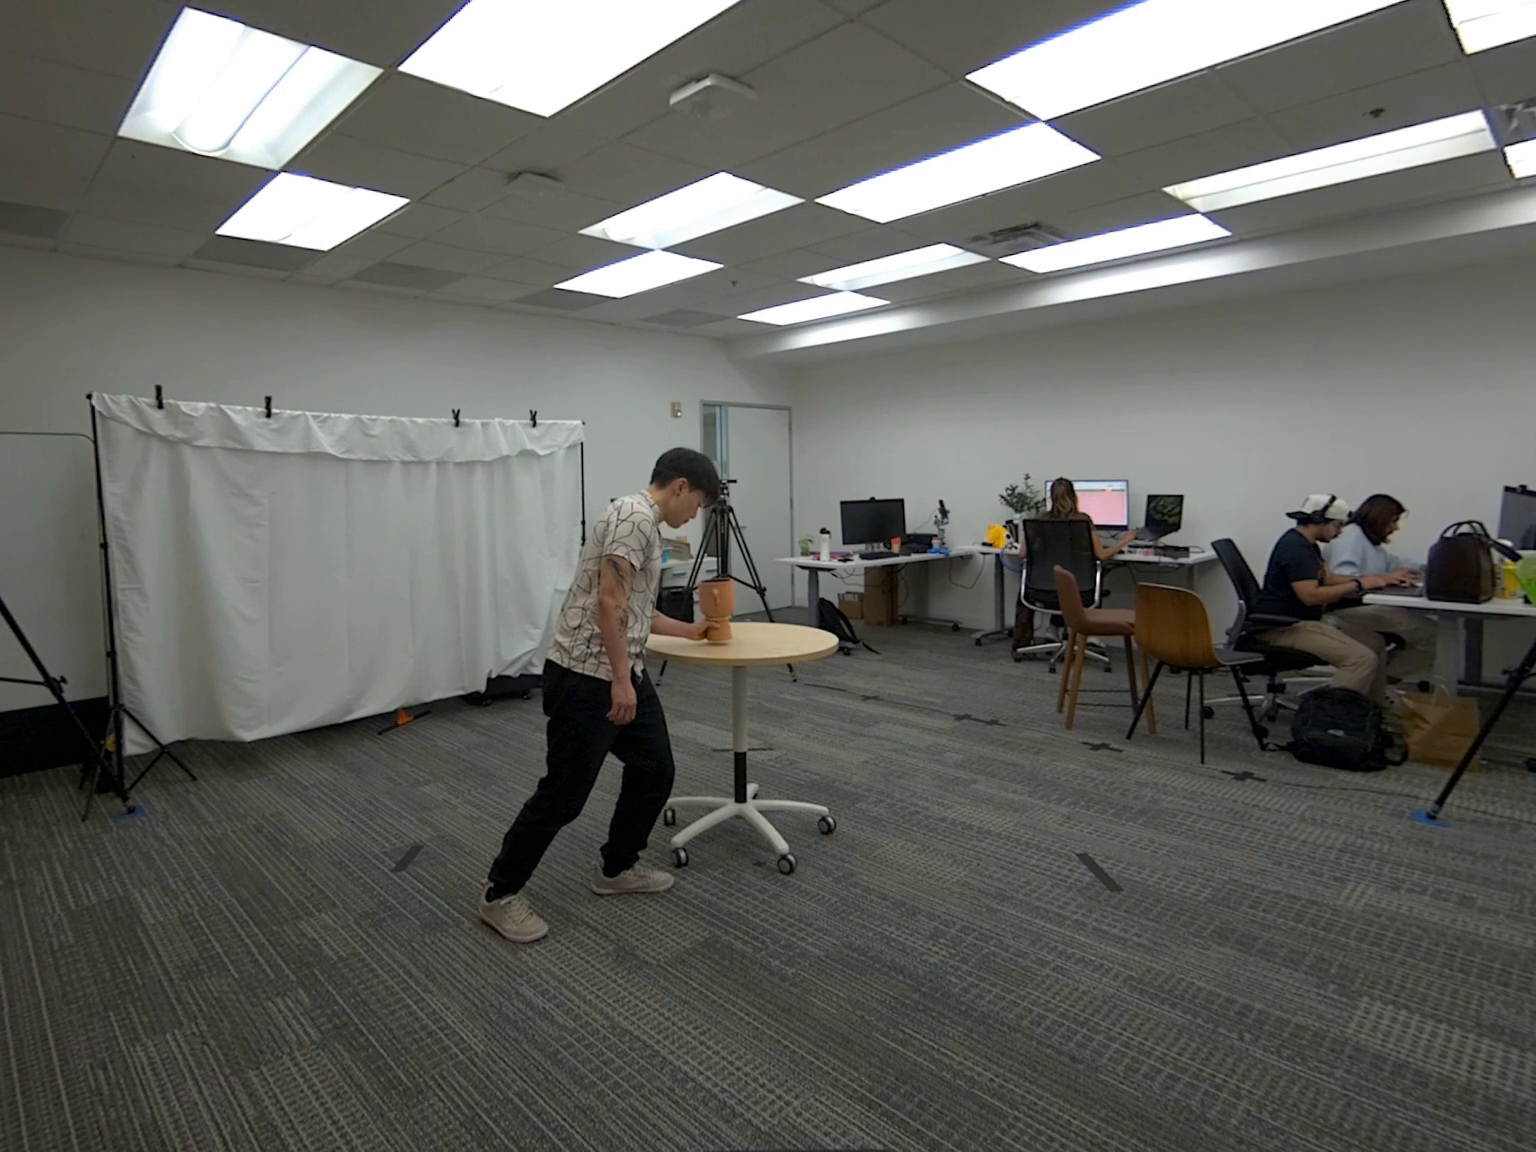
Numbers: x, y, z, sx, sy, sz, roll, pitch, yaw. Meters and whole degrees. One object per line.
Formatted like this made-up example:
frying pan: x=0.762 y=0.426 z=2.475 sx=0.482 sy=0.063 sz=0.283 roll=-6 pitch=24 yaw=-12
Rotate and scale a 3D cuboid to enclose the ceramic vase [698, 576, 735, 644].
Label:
ceramic vase: x=-0.187 y=0.124 z=3.191 sx=0.138 sy=0.219 sz=0.155 roll=0 pitch=6 yaw=39
